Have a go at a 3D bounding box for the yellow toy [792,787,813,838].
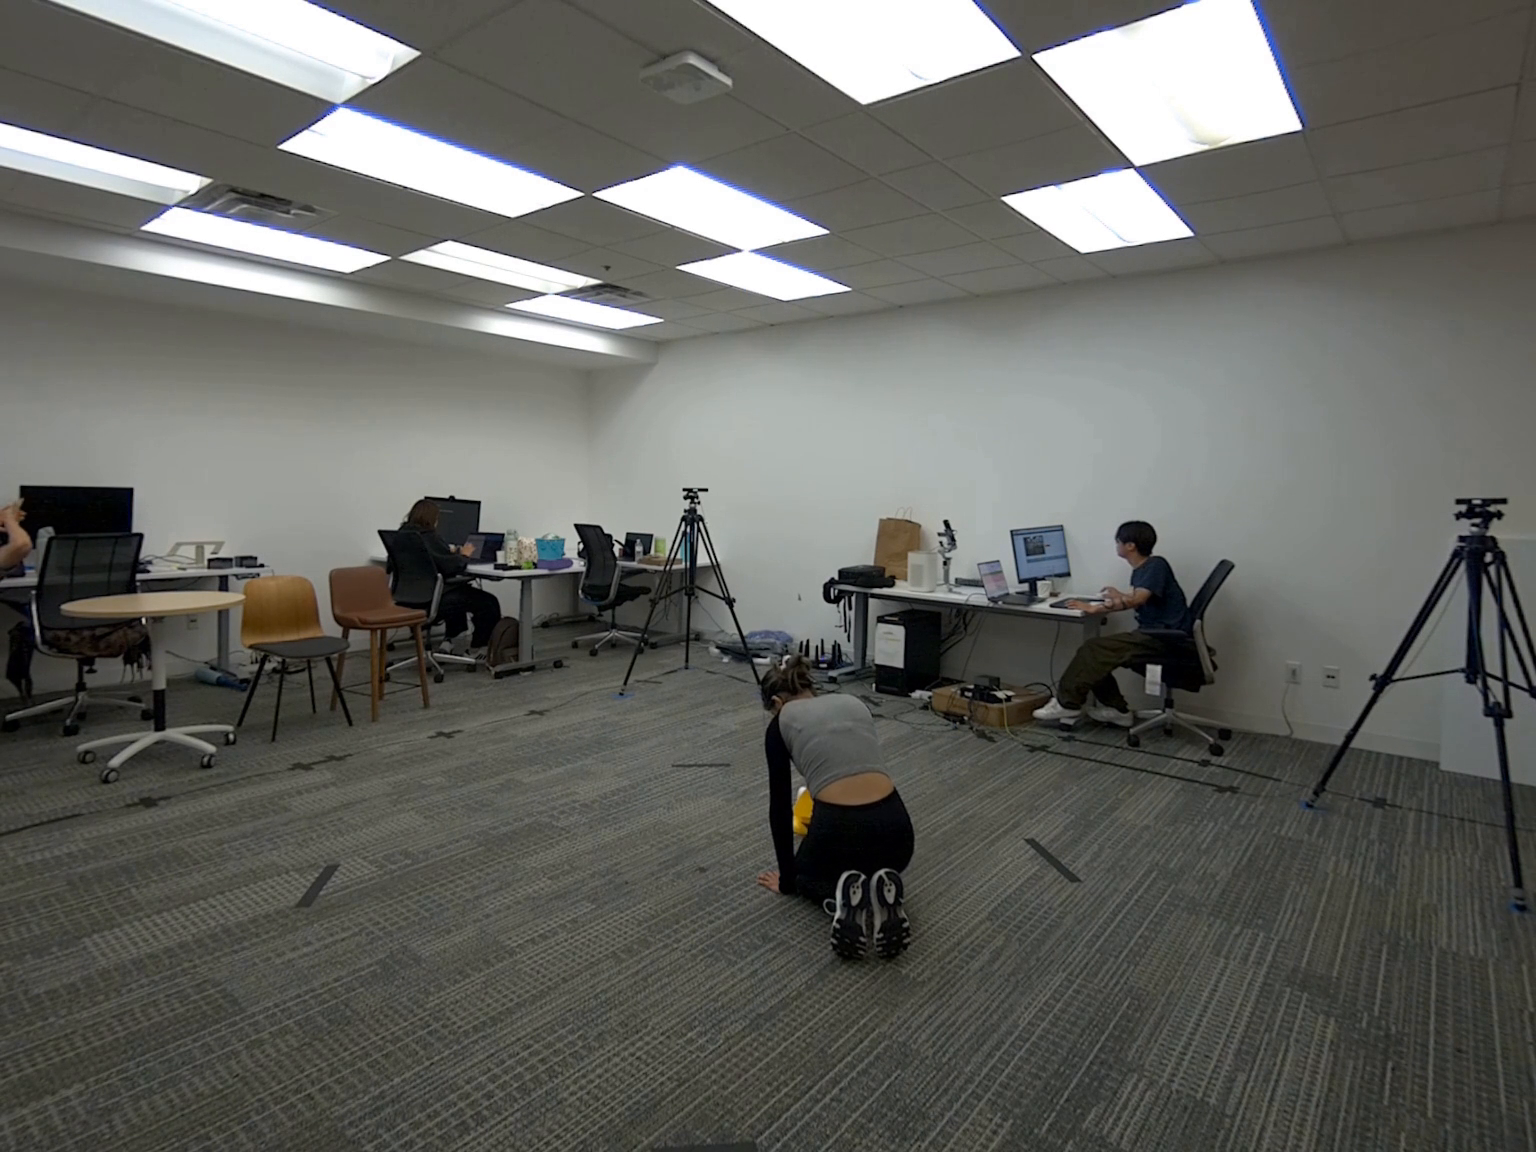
[{"bbox_3d":[0.184,0.922,3.509,0.206,0.230,0.193,0,5,5],"label":"yellow toy"}]
